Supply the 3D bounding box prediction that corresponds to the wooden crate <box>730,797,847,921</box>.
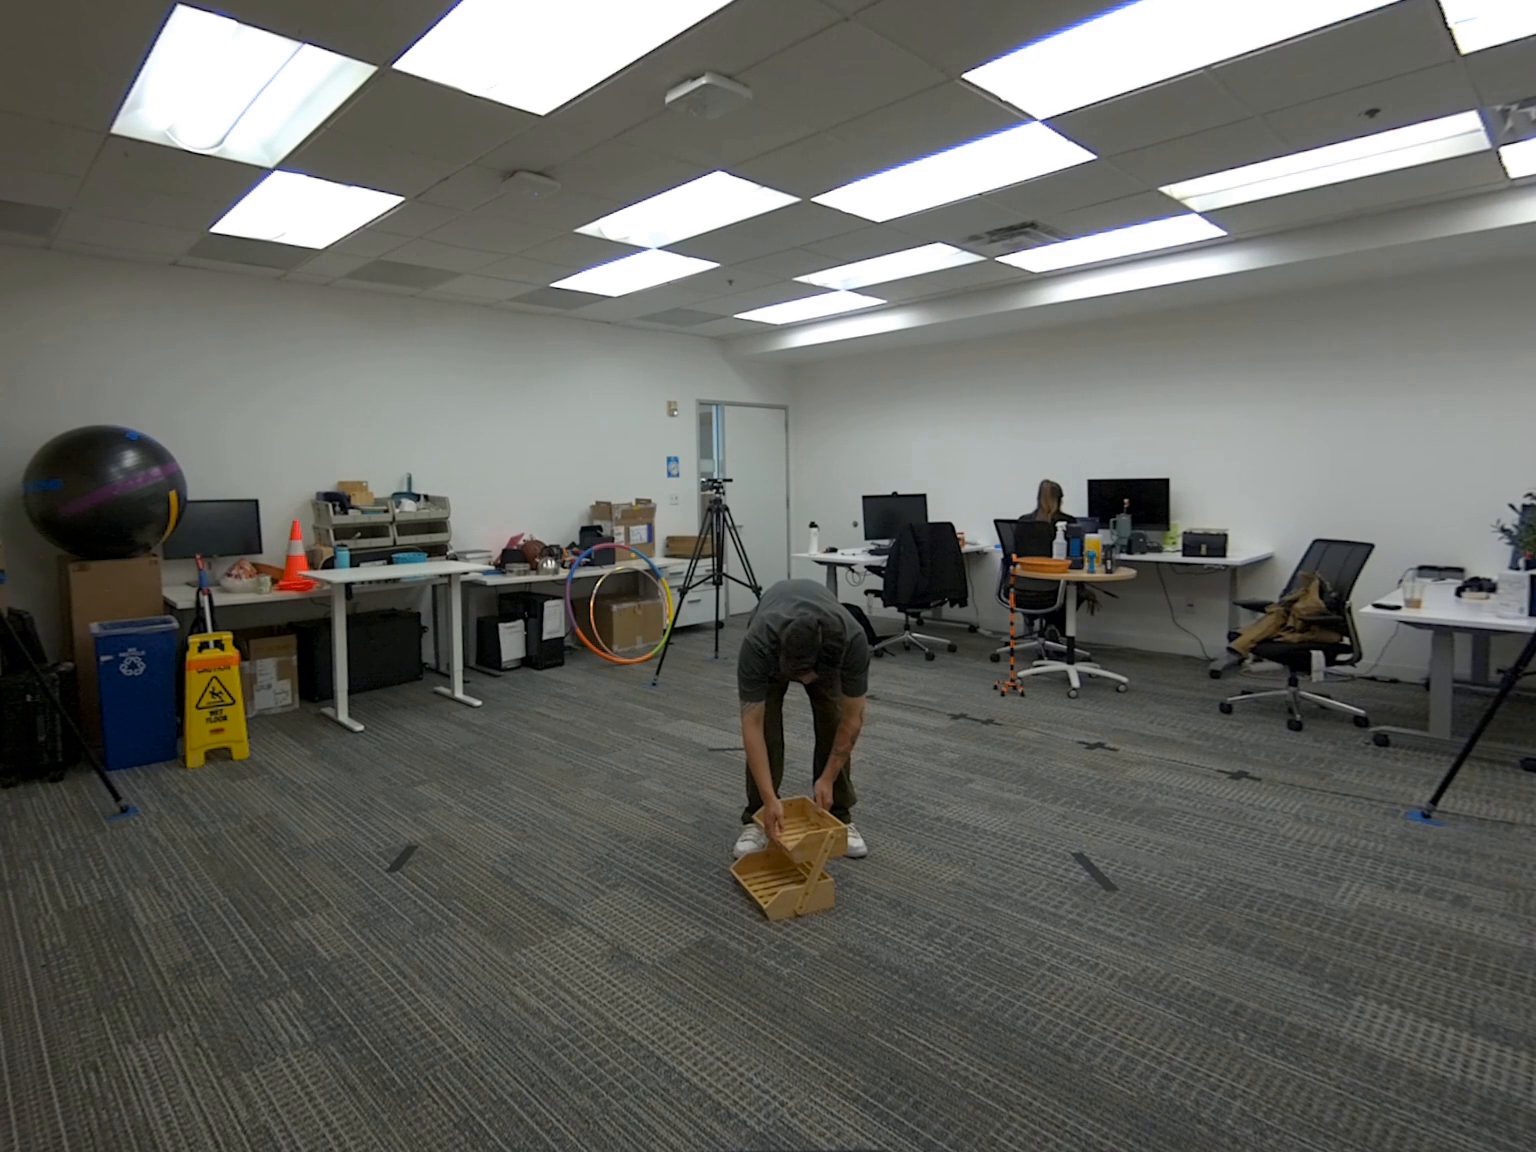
[{"bbox_3d":[0.058,0.939,2.873,0.296,0.272,0.332,-3,6,-23],"label":"wooden crate"}]
